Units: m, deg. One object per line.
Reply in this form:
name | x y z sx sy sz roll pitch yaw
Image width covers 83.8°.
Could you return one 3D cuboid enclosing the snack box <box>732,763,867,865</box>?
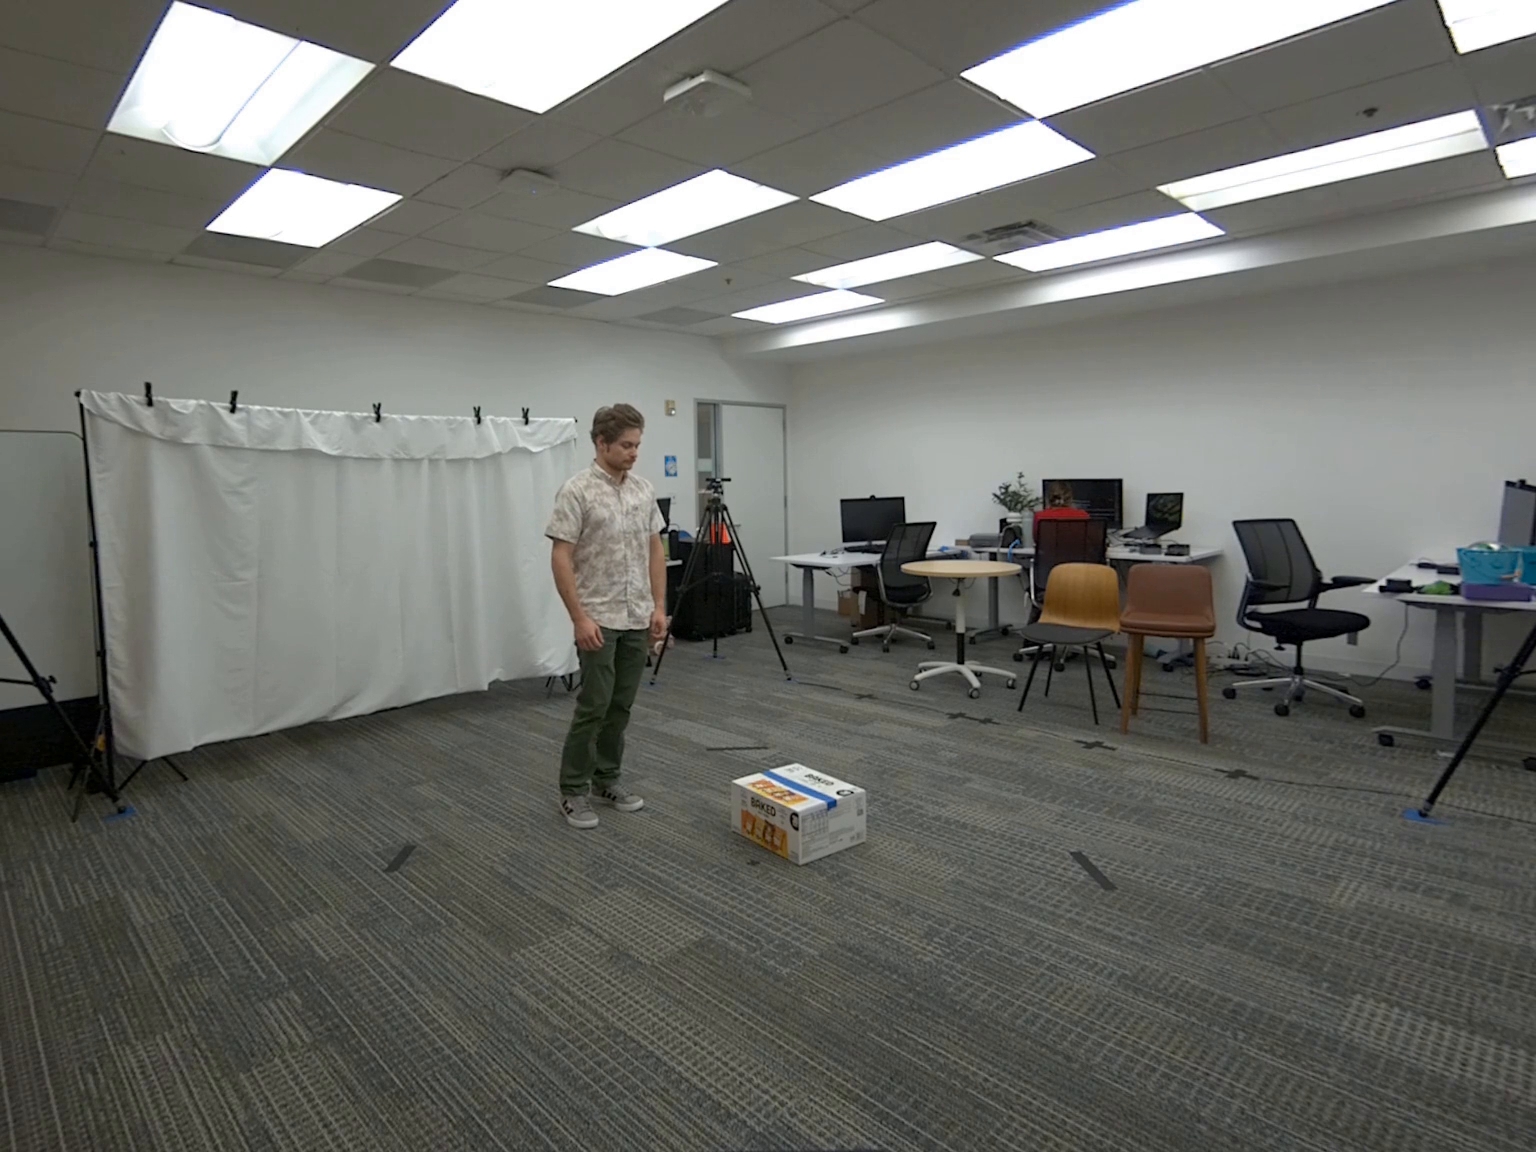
snack box | 0.118 0.915 3.317 0.332 0.205 0.417 -6 7 -37
